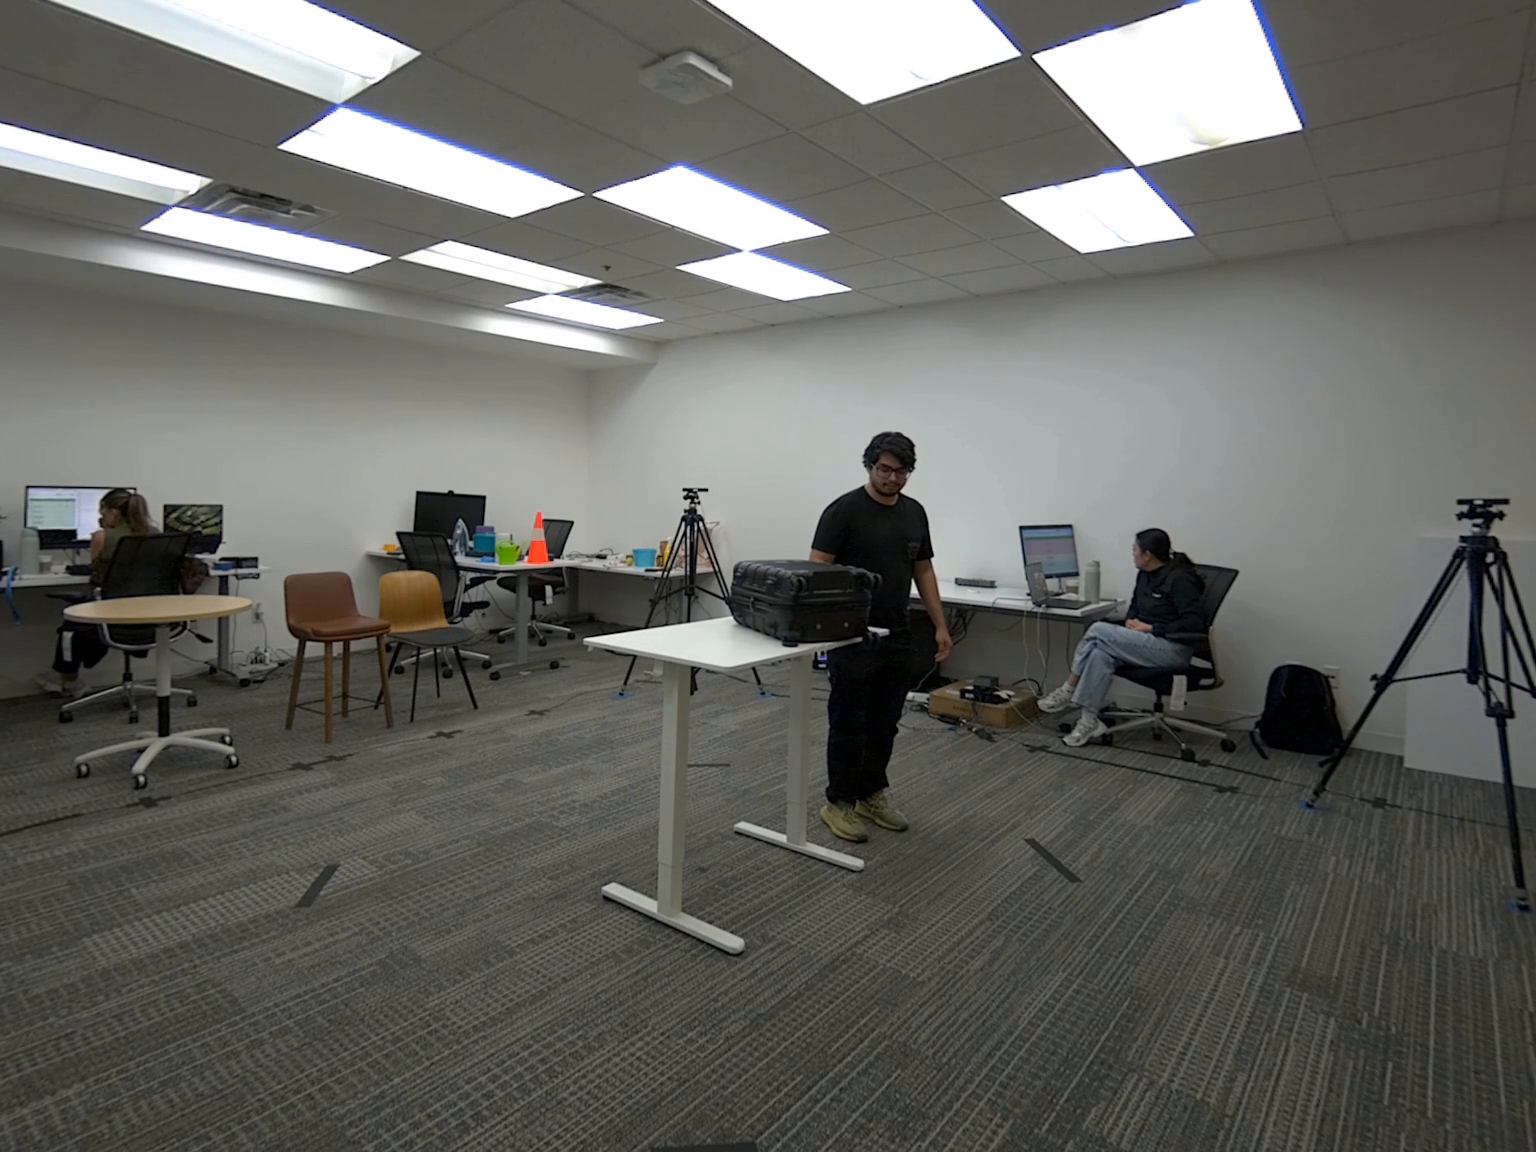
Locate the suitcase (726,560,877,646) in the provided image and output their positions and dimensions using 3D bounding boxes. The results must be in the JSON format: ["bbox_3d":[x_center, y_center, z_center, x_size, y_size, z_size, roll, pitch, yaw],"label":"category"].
[{"bbox_3d":[0.099,0.082,3.063,0.367,0.247,0.564,-1,6,-24],"label":"suitcase"}]
